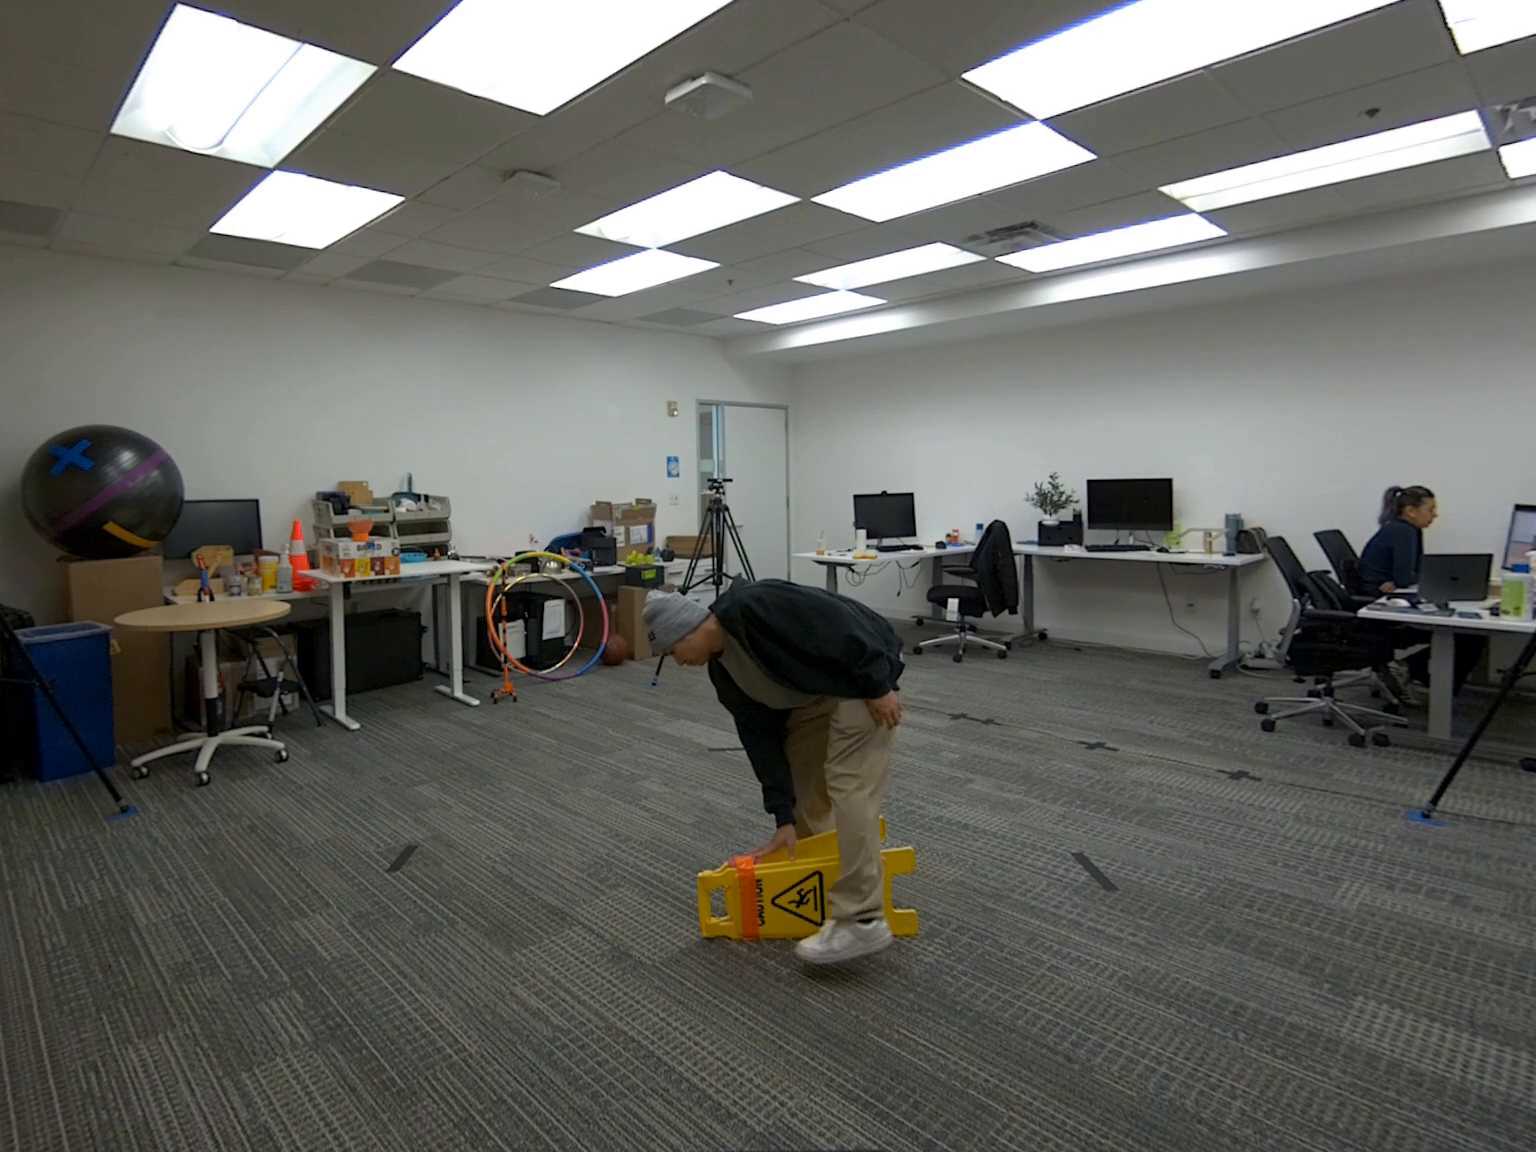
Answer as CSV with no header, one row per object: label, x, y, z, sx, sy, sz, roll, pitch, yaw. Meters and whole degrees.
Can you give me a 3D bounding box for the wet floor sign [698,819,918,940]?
wet floor sign,0.112,0.972,2.641,0.640,0.280,0.294,-5,7,-10
